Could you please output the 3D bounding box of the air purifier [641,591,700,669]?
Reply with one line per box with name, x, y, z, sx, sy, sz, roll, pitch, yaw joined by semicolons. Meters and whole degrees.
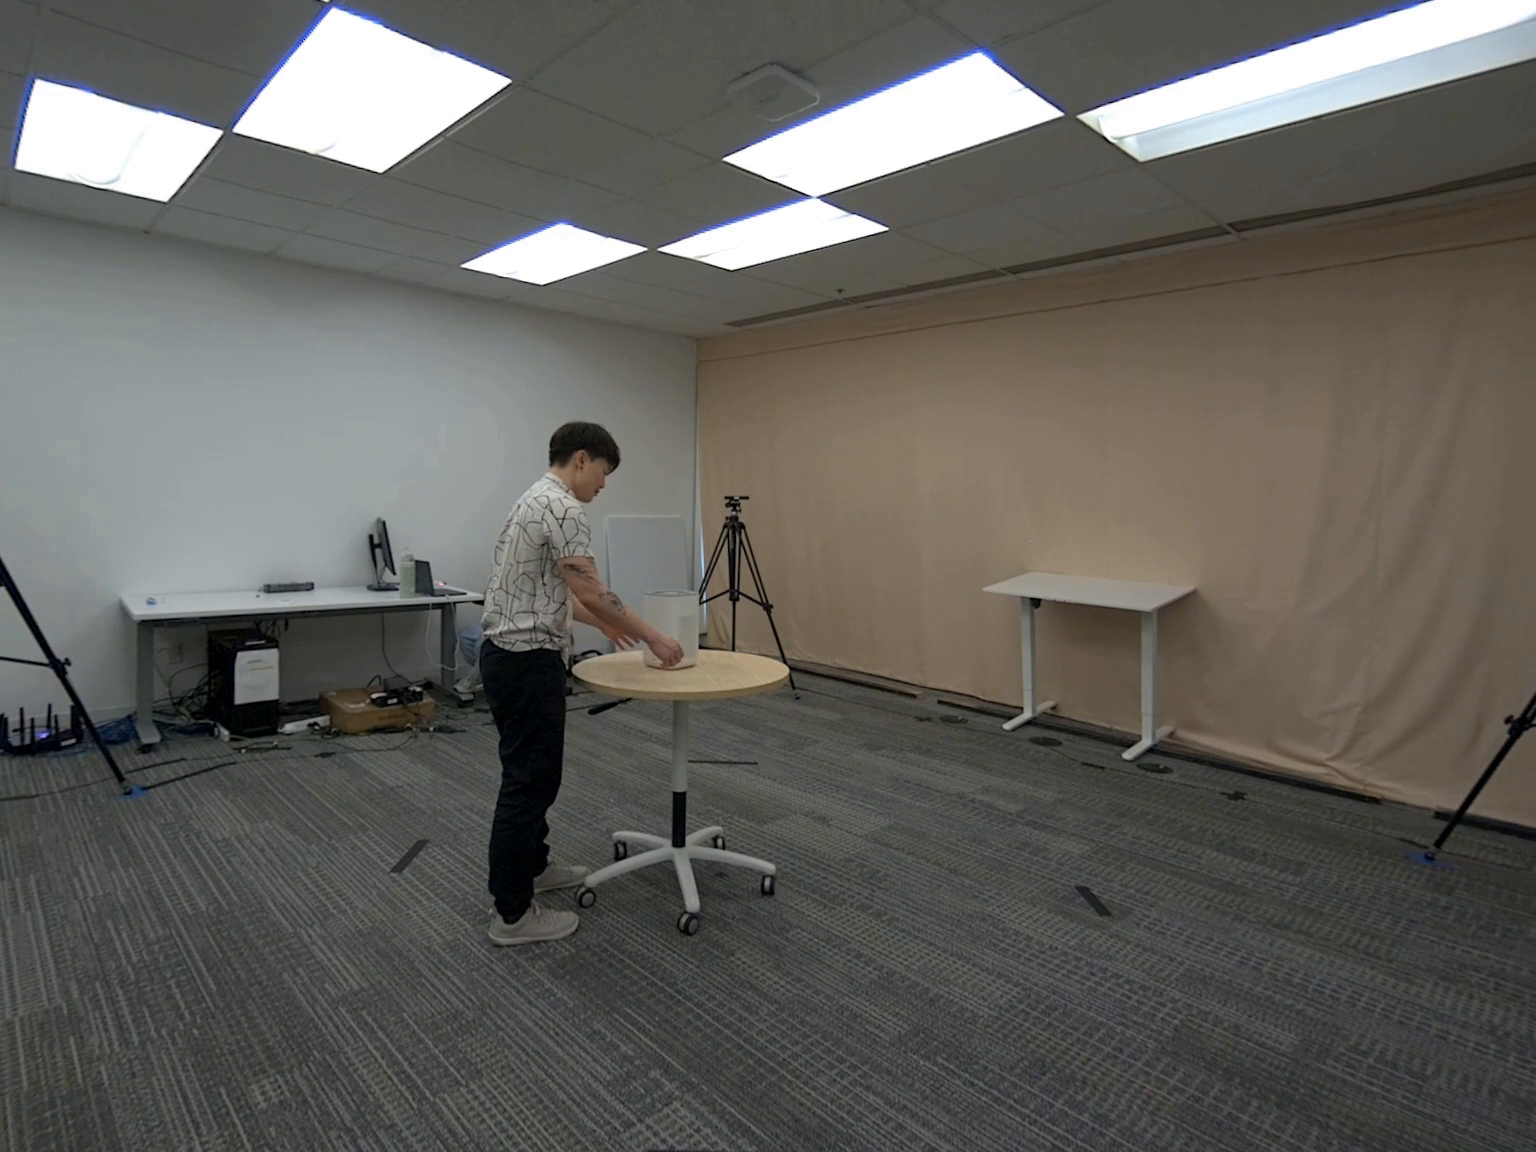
air purifier;-0.348;0.192;3.017;0.175;0.265;0.168;4;4;34
